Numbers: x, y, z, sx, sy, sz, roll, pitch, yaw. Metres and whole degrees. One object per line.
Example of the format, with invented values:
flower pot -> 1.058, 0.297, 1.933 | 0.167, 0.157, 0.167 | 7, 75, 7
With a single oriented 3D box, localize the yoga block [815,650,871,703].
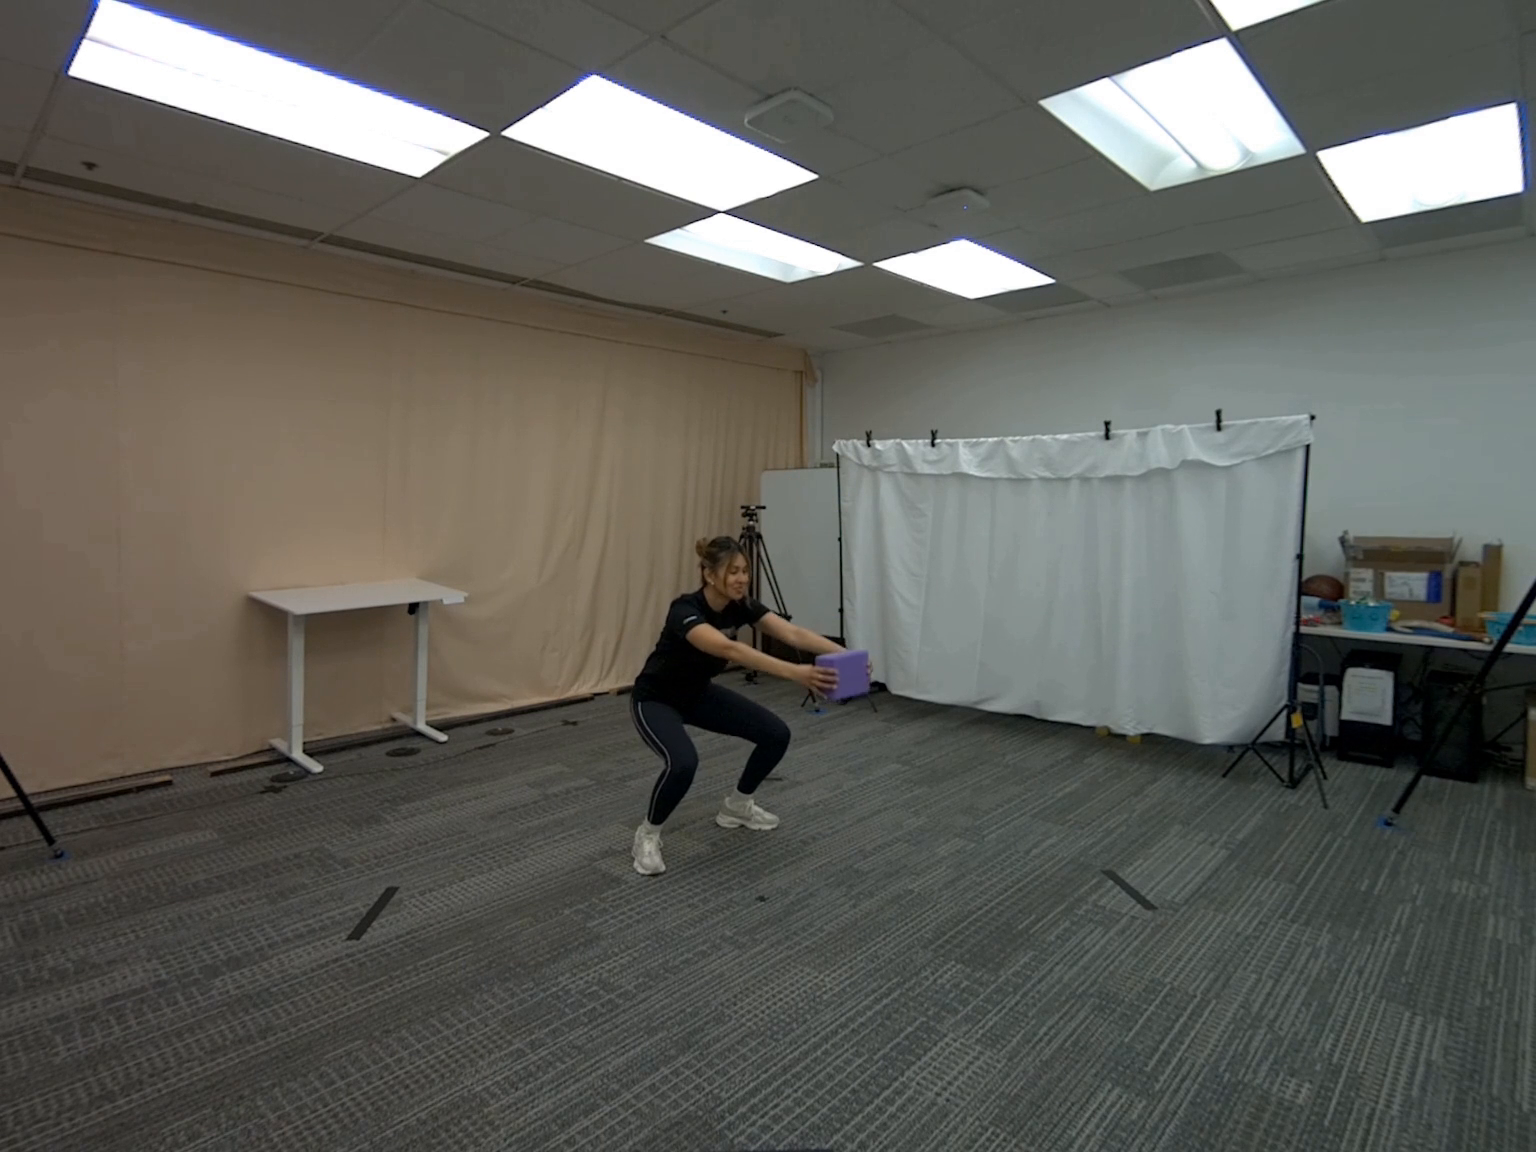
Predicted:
yoga block -> 0.267, 0.336, 2.903 | 0.079, 0.149, 0.222 | 2, 4, 44
